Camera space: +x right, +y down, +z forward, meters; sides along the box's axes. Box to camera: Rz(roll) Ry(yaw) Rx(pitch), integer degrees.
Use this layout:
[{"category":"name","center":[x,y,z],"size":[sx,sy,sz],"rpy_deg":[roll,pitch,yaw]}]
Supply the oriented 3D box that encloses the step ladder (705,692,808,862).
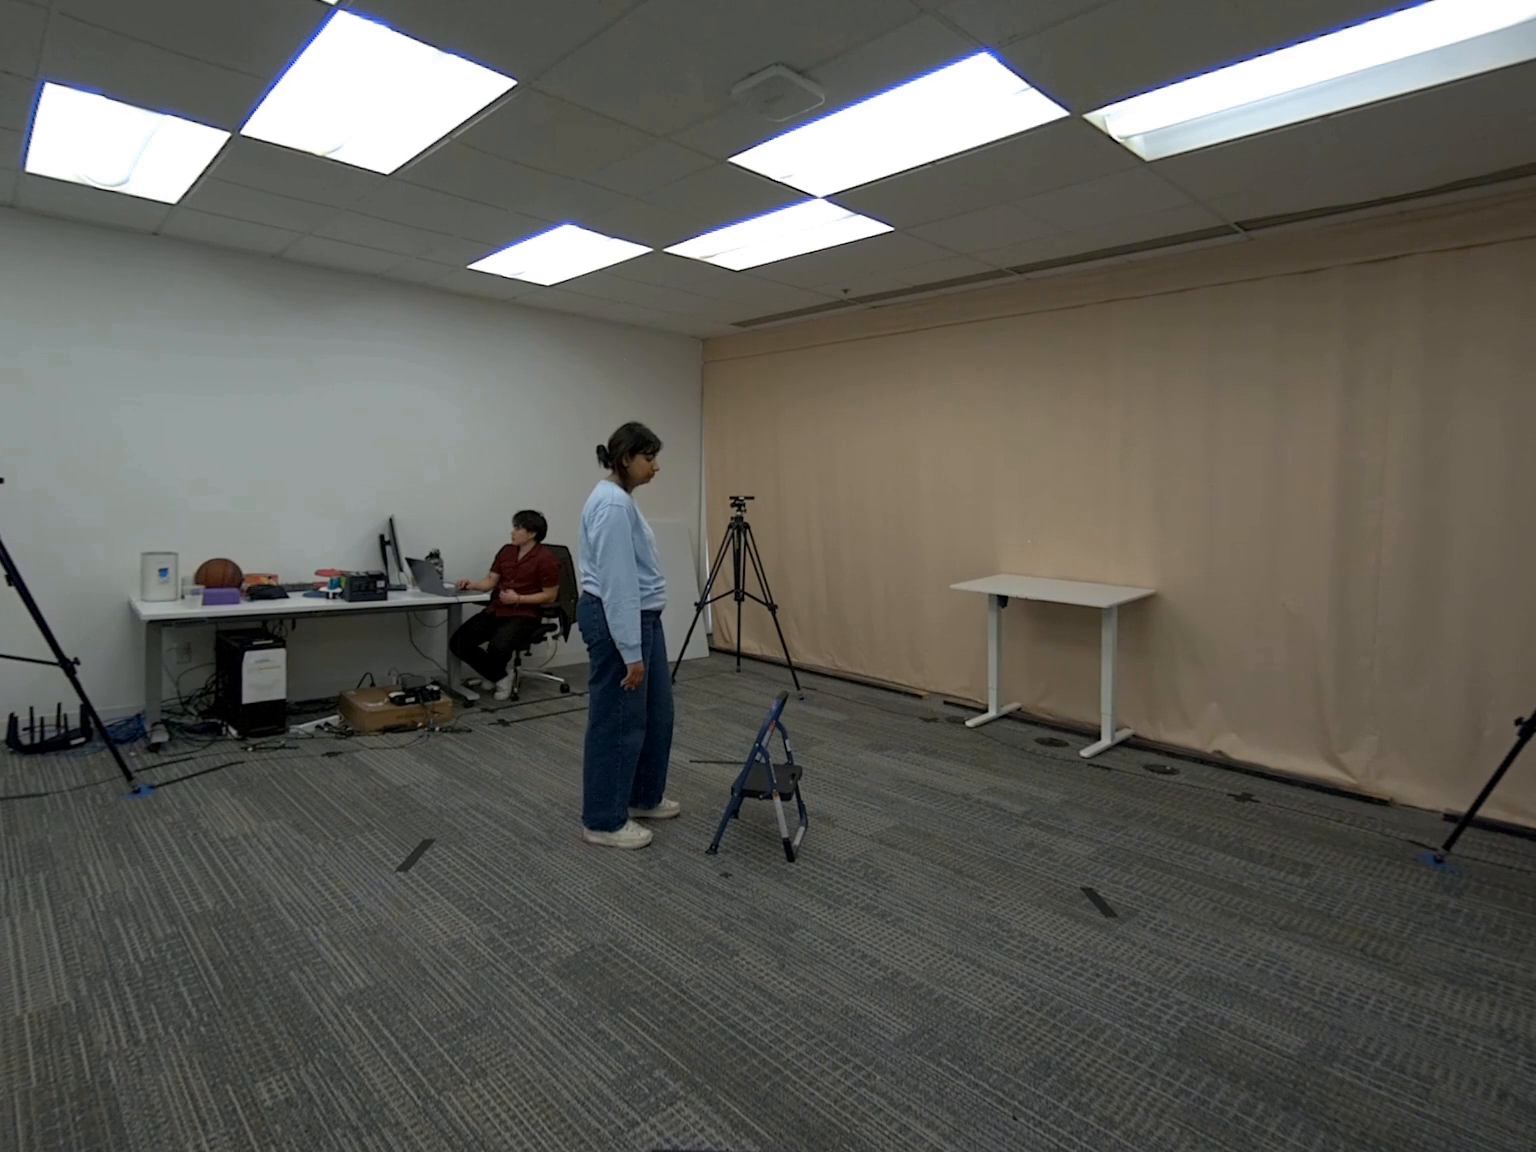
[{"category":"step ladder","center":[-0.031,0.775,3.443],"size":[0.353,0.604,0.427],"rpy_deg":[2,4,11]}]
